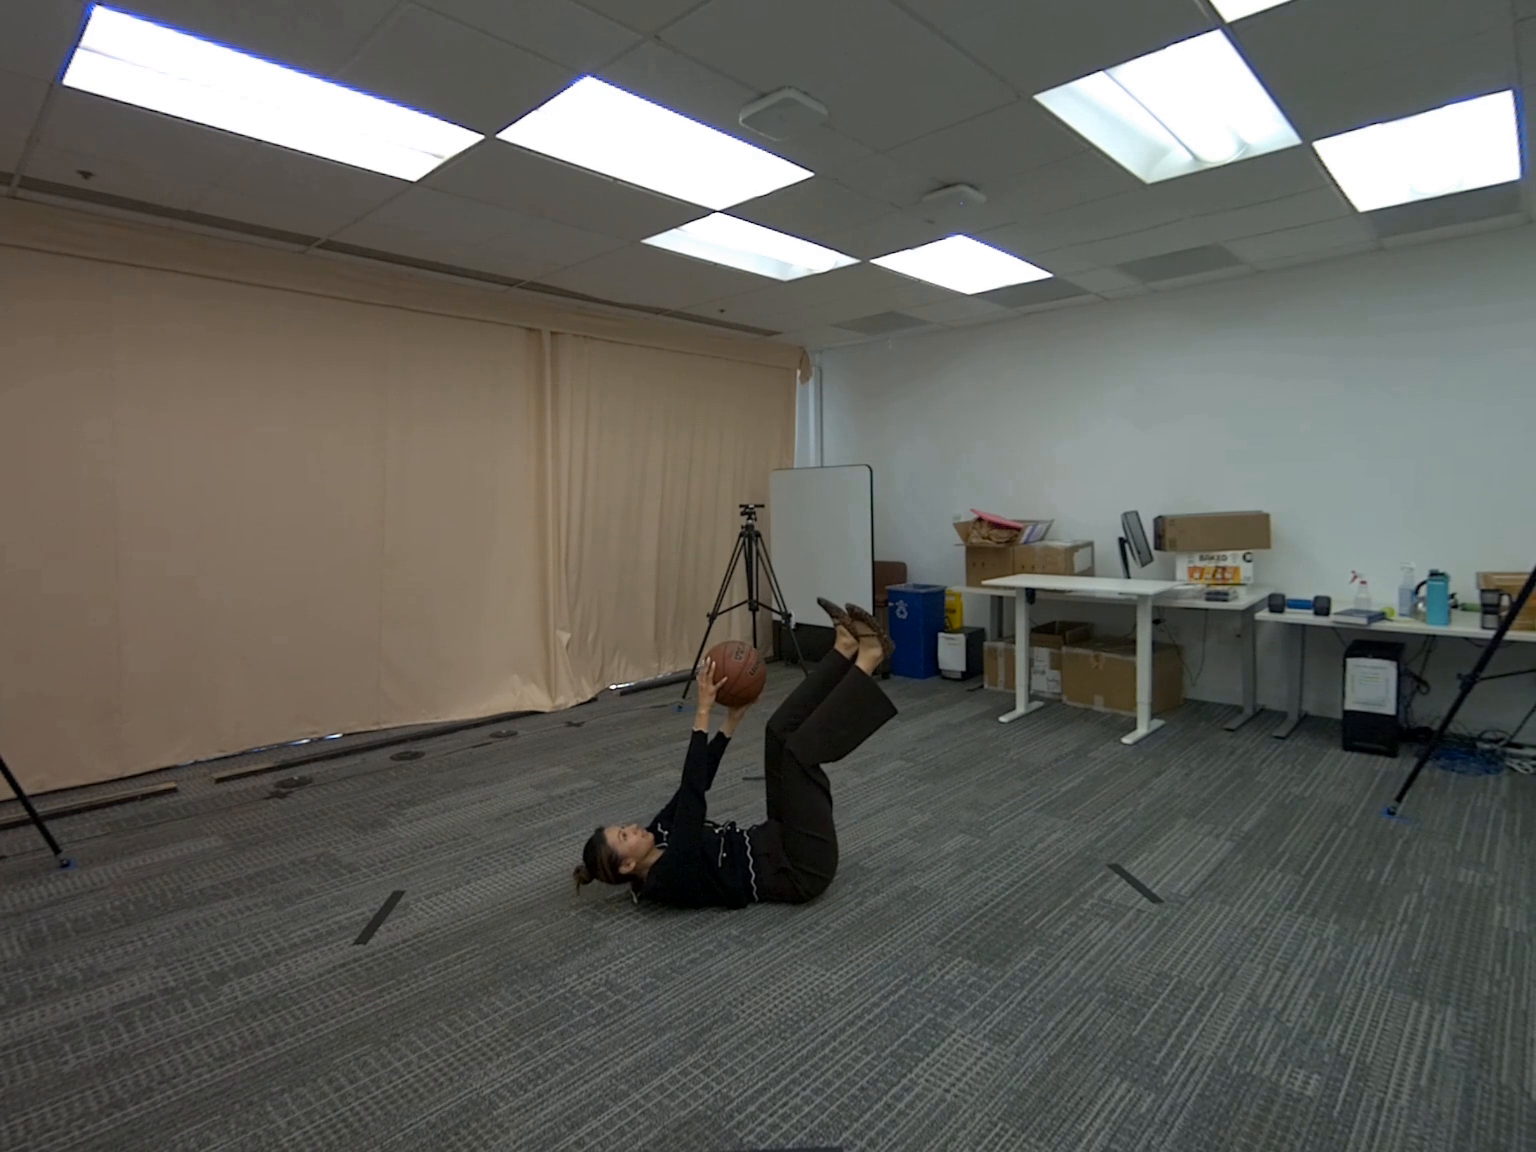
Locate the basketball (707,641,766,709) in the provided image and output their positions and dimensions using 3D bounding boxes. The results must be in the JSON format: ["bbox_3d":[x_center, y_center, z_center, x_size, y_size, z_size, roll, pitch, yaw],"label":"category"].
[{"bbox_3d":[-0.115,0.350,2.999,0.236,0.235,0.237,-1,4,-2],"label":"basketball"}]
